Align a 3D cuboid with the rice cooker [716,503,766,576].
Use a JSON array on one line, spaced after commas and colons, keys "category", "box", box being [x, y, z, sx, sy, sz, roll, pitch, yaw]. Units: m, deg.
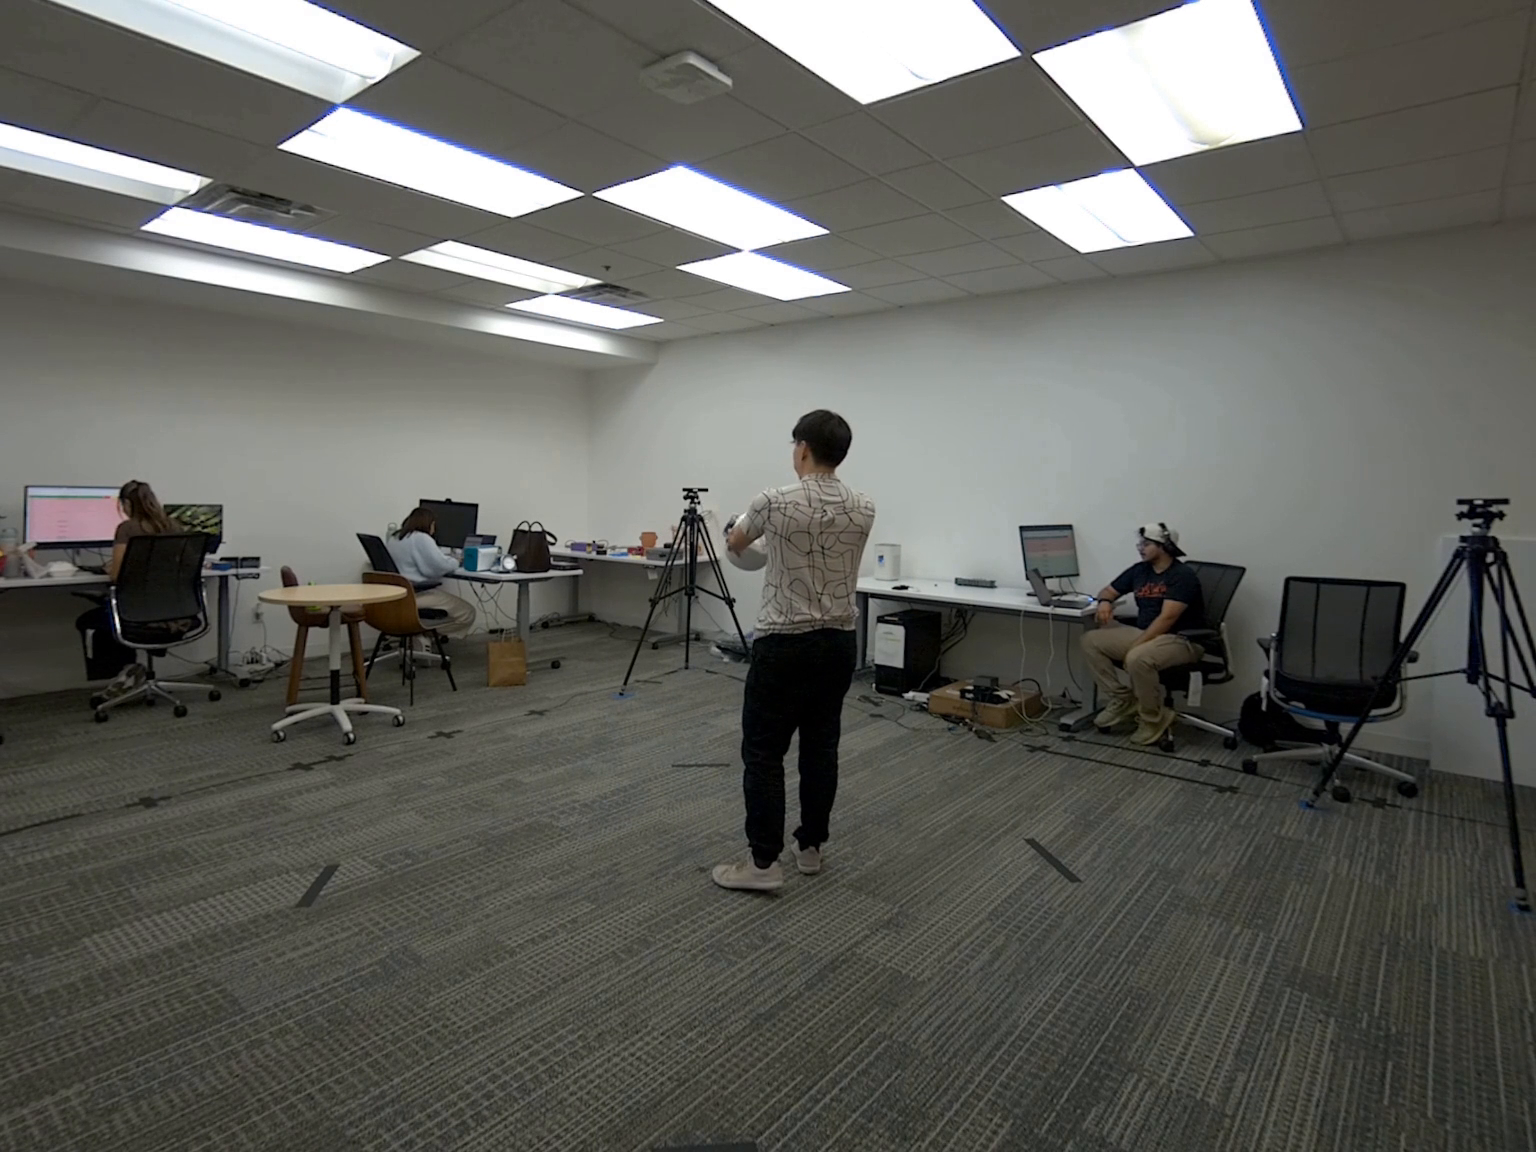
[{"category": "rice cooker", "box": [-0.072, -0.157, 3.612, 0.213, 0.227, 0.231, 0, -29, -19]}]
